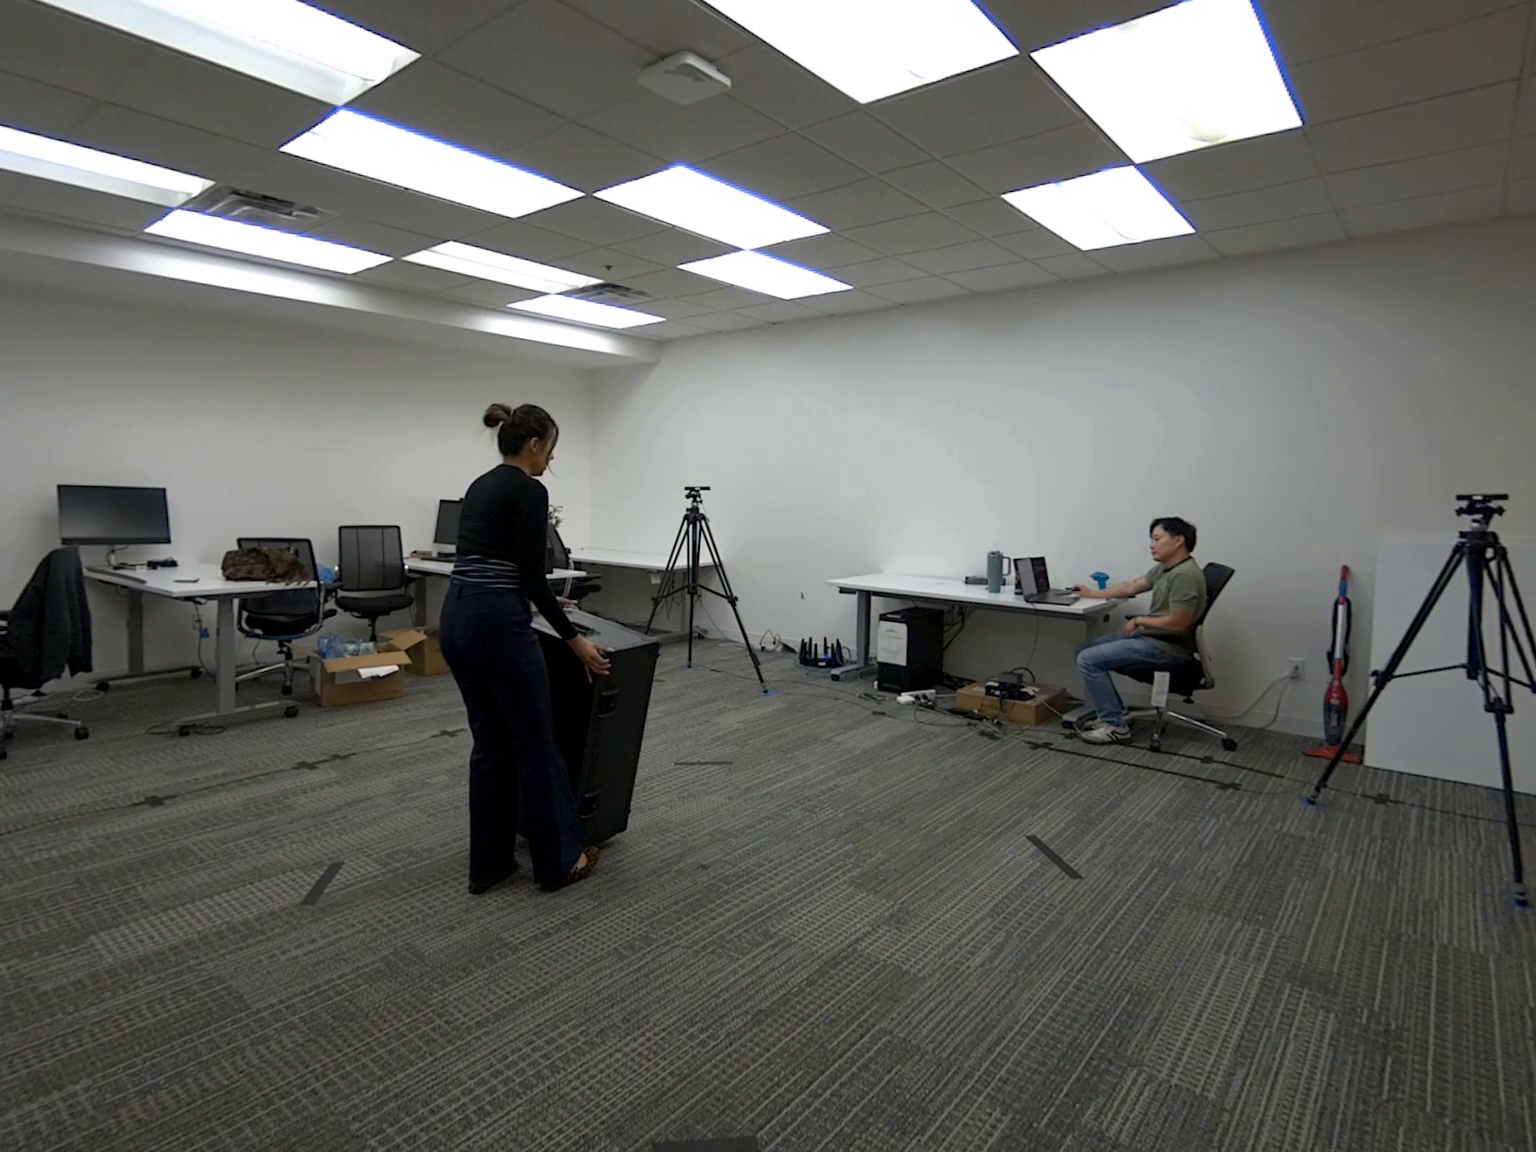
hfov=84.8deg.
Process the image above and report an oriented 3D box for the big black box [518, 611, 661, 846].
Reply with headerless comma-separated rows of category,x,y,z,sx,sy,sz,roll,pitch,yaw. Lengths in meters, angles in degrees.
big black box,-0.784,0.599,3.263,0.539,0.856,0.385,17,9,30
